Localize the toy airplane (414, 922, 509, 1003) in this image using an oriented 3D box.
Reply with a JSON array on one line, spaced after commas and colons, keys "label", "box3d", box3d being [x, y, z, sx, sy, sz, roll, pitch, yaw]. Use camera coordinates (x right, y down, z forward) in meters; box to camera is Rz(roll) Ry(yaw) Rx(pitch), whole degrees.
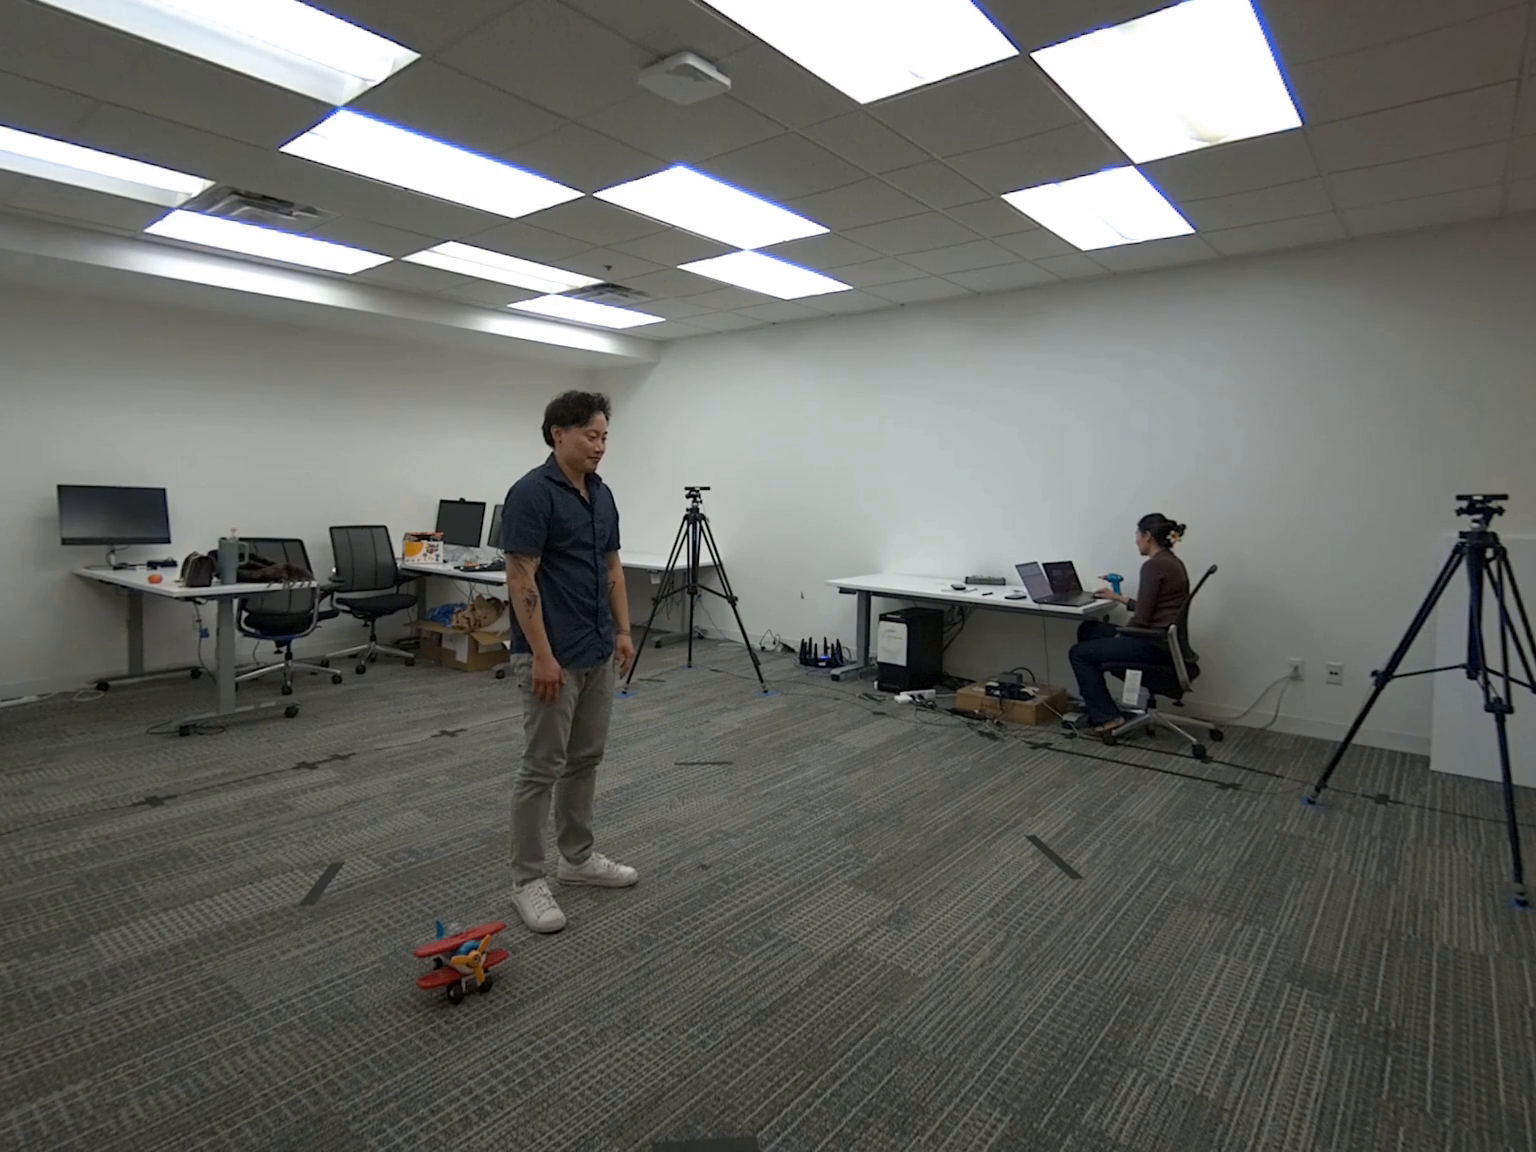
[{"label": "toy airplane", "box3d": [-0.889, 1.059, 2.358, 0.265, 0.156, 0.247, 4, 6, 20]}]
